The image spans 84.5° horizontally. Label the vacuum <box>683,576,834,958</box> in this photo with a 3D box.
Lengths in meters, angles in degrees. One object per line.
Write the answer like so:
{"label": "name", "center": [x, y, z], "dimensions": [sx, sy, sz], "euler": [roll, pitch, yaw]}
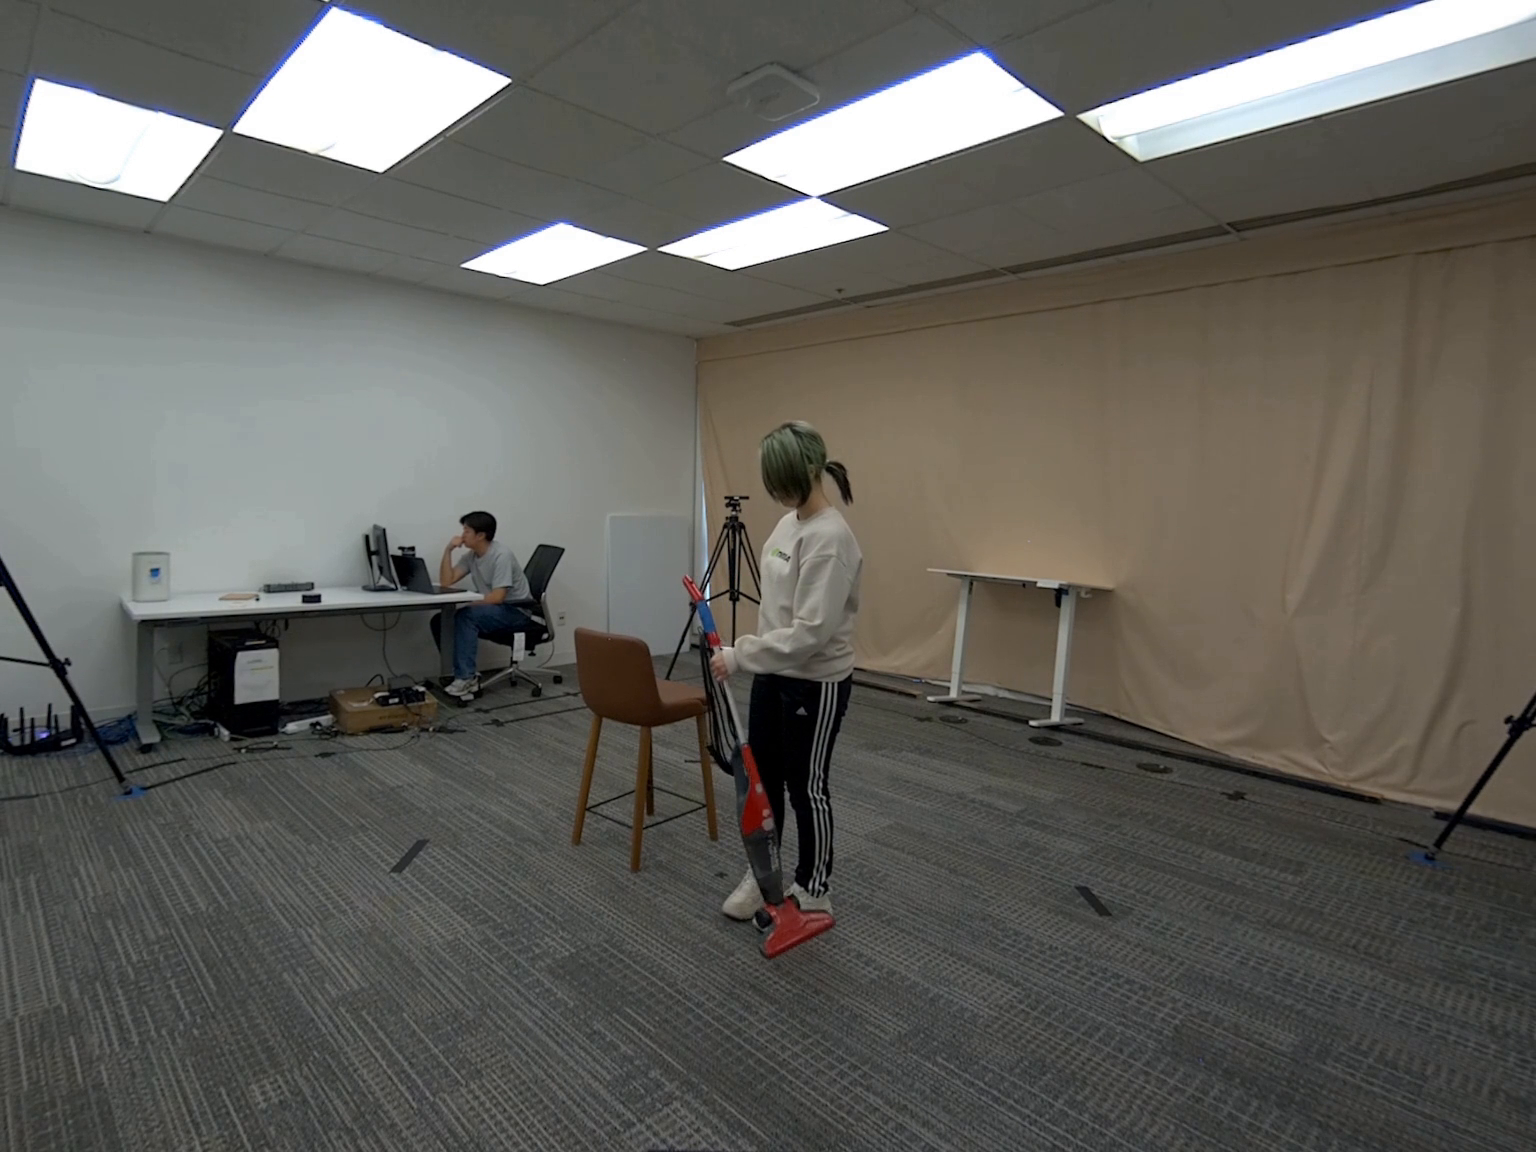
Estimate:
{"label": "vacuum", "center": [-0.107, 0.514, 2.500], "dimensions": [0.248, 1.060, 0.145], "euler": [-12, -12, -30]}
